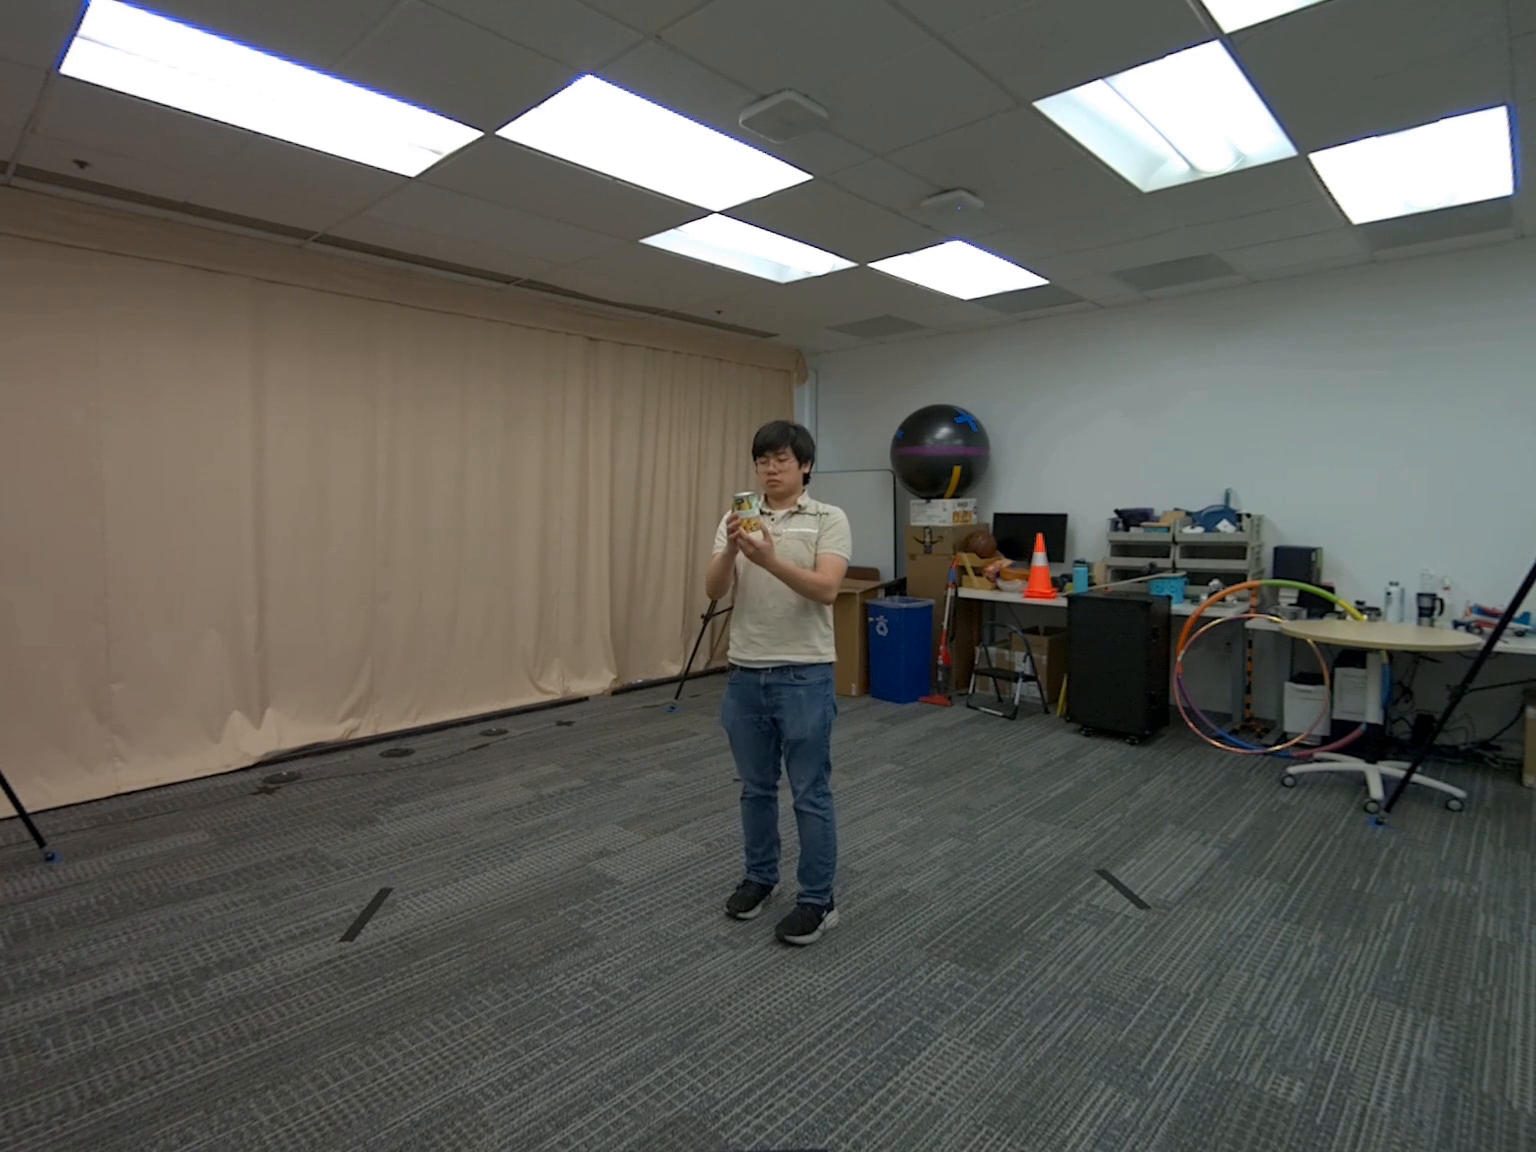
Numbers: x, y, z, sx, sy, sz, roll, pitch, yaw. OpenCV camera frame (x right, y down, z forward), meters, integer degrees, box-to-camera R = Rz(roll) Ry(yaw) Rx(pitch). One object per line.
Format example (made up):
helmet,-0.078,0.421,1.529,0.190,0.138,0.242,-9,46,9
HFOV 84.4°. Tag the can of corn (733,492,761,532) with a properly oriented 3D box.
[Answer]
can of corn,-0.061,-0.189,2.548,0.074,0.110,0.075,-8,9,0
